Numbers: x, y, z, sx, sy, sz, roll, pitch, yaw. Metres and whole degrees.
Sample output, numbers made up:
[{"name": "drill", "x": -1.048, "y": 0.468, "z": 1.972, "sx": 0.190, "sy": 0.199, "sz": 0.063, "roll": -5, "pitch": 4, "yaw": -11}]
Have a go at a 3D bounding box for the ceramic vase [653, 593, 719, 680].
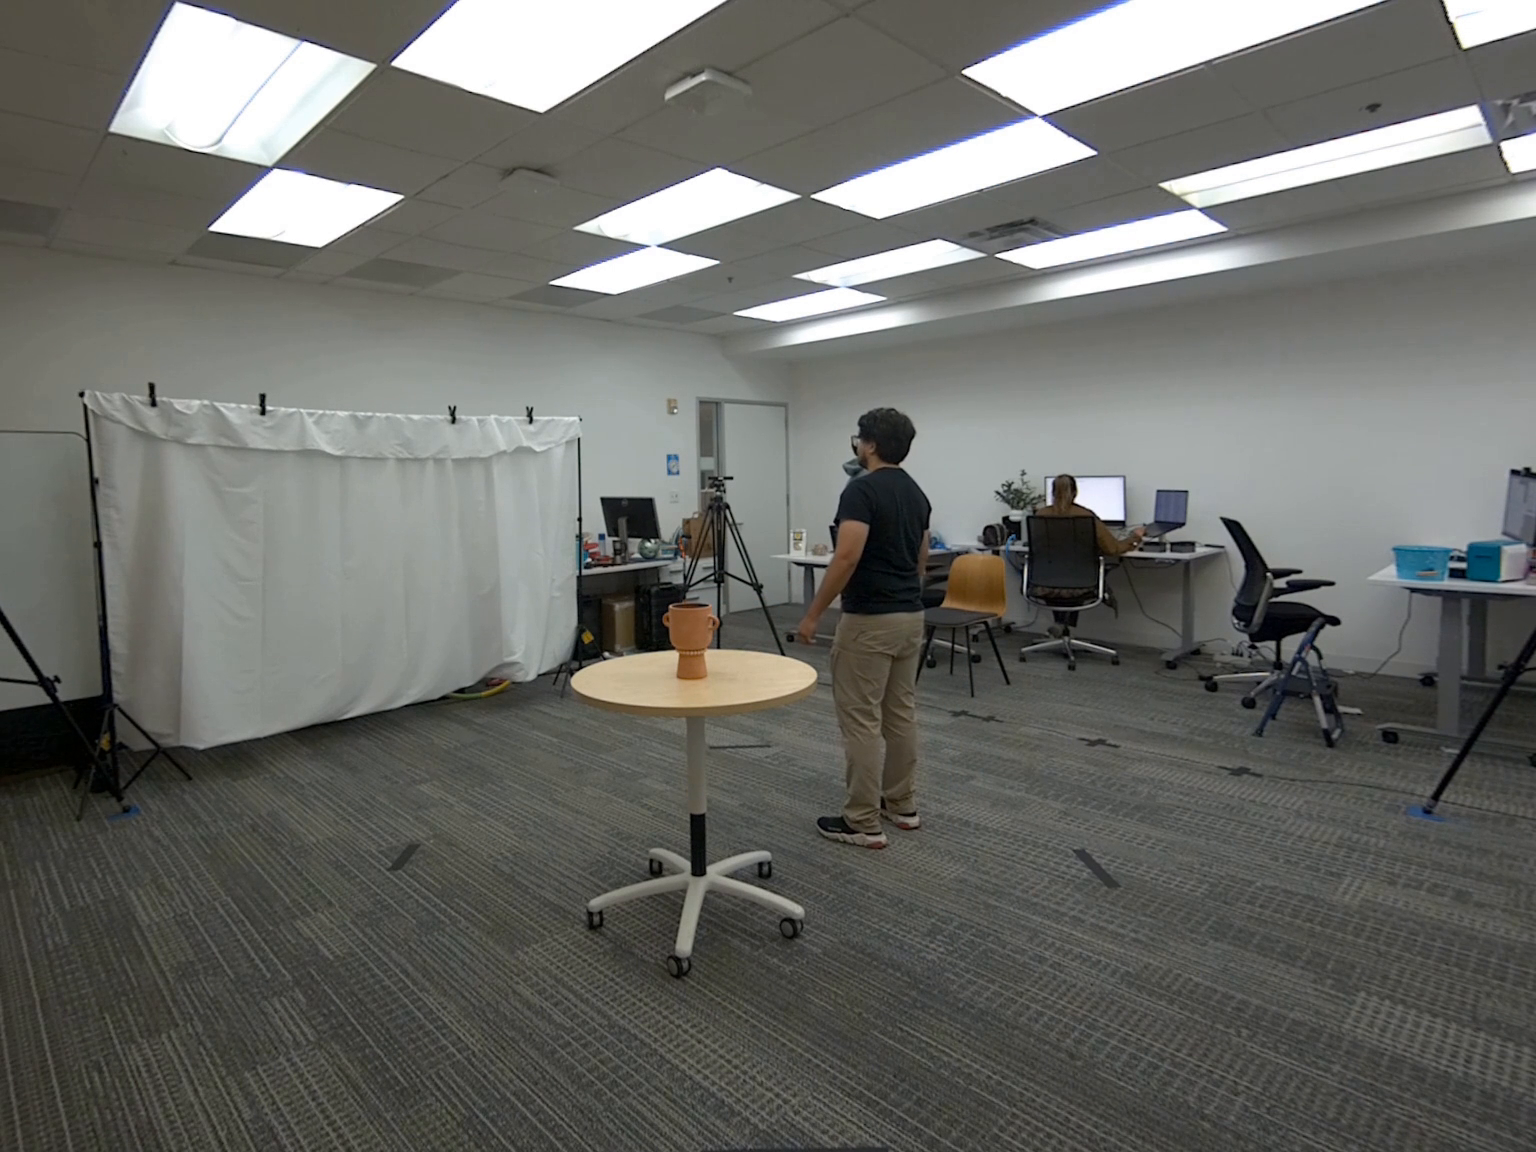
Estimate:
[{"name": "ceramic vase", "x": -0.235, "y": 0.200, "z": 2.645, "sx": 0.132, "sy": 0.219, "sz": 0.162, "roll": -3, "pitch": 4, "yaw": -25}]
